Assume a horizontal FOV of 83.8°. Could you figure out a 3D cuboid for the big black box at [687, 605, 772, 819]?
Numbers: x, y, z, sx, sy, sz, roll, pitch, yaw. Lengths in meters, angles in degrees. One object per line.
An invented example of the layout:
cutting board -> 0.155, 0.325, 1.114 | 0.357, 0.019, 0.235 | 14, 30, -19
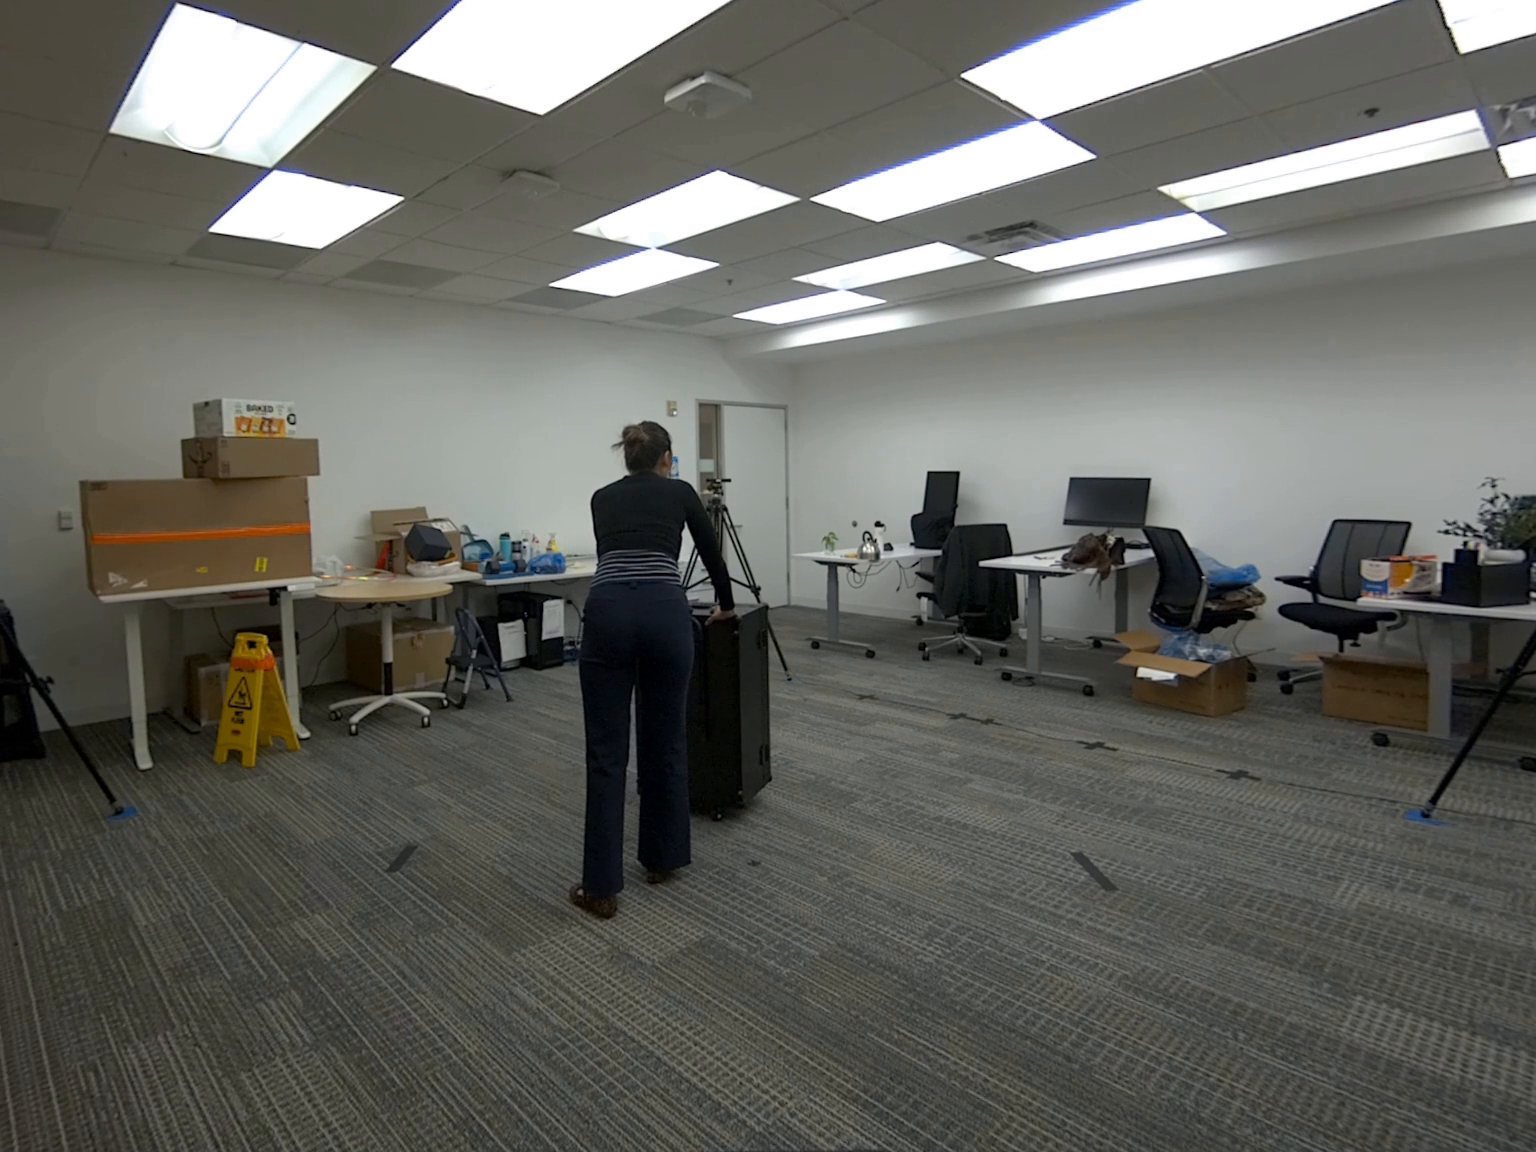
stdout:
big black box -> -0.270, 0.565, 3.651 | 0.532, 0.857, 0.390 | 0, 5, 21
